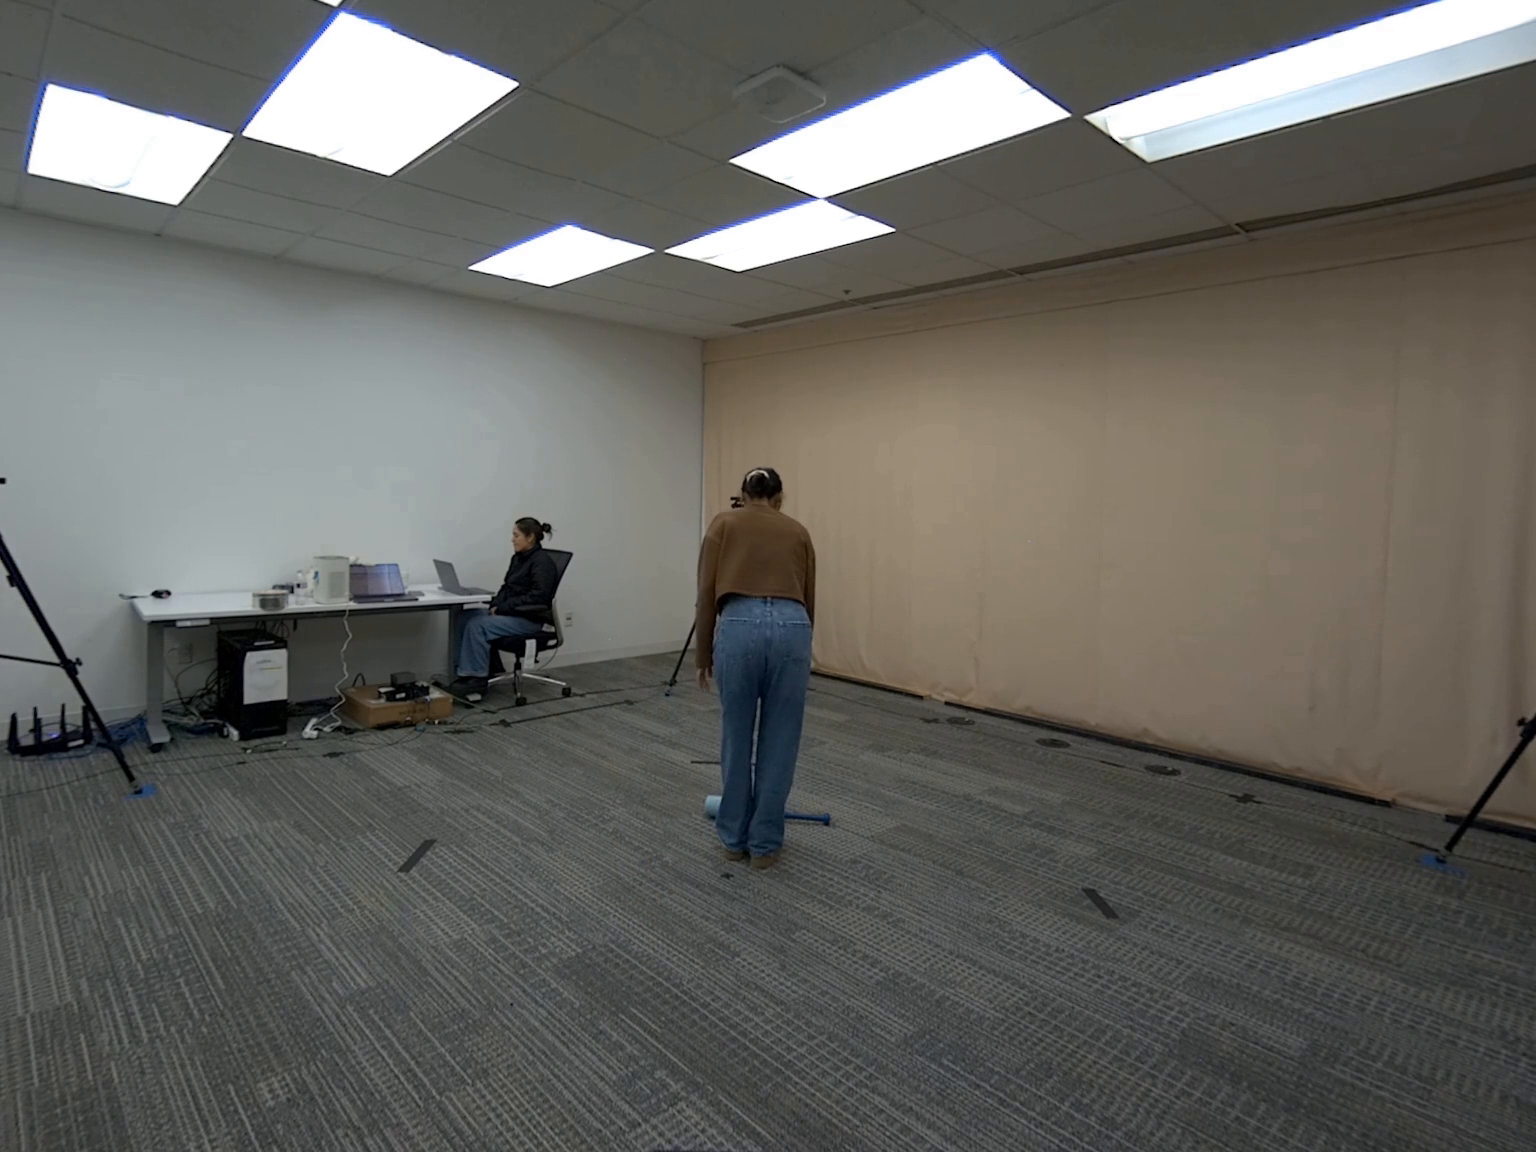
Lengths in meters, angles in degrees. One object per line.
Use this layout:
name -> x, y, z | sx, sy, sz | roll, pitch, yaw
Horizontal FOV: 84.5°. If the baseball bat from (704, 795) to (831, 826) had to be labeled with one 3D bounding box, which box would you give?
baseball bat -> -0.011, 1.031, 3.650 | 0.546, 0.089, 0.089 | 5, 4, 5
